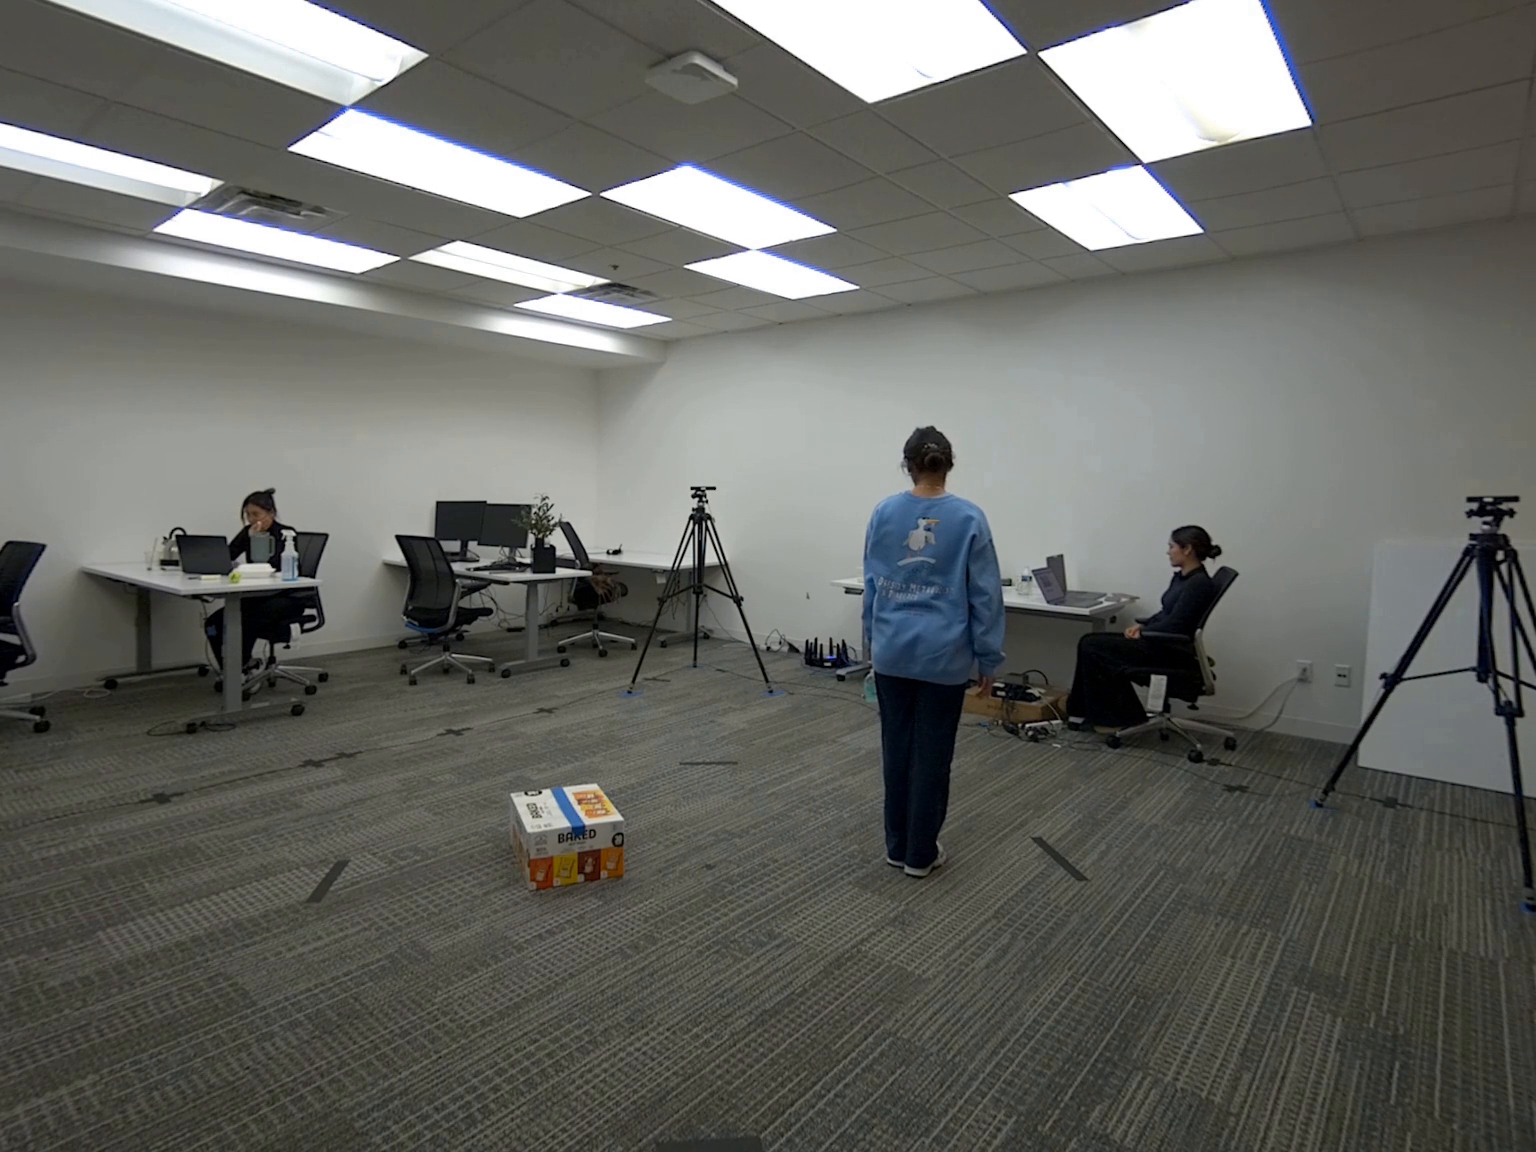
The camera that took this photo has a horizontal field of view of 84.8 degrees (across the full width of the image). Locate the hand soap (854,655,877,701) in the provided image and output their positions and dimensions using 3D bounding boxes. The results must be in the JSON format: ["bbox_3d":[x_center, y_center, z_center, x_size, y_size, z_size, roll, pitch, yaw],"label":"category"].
[{"bbox_3d":[0.409,0.417,3.444,0.085,0.167,0.043,7,5,0],"label":"hand soap"}]
